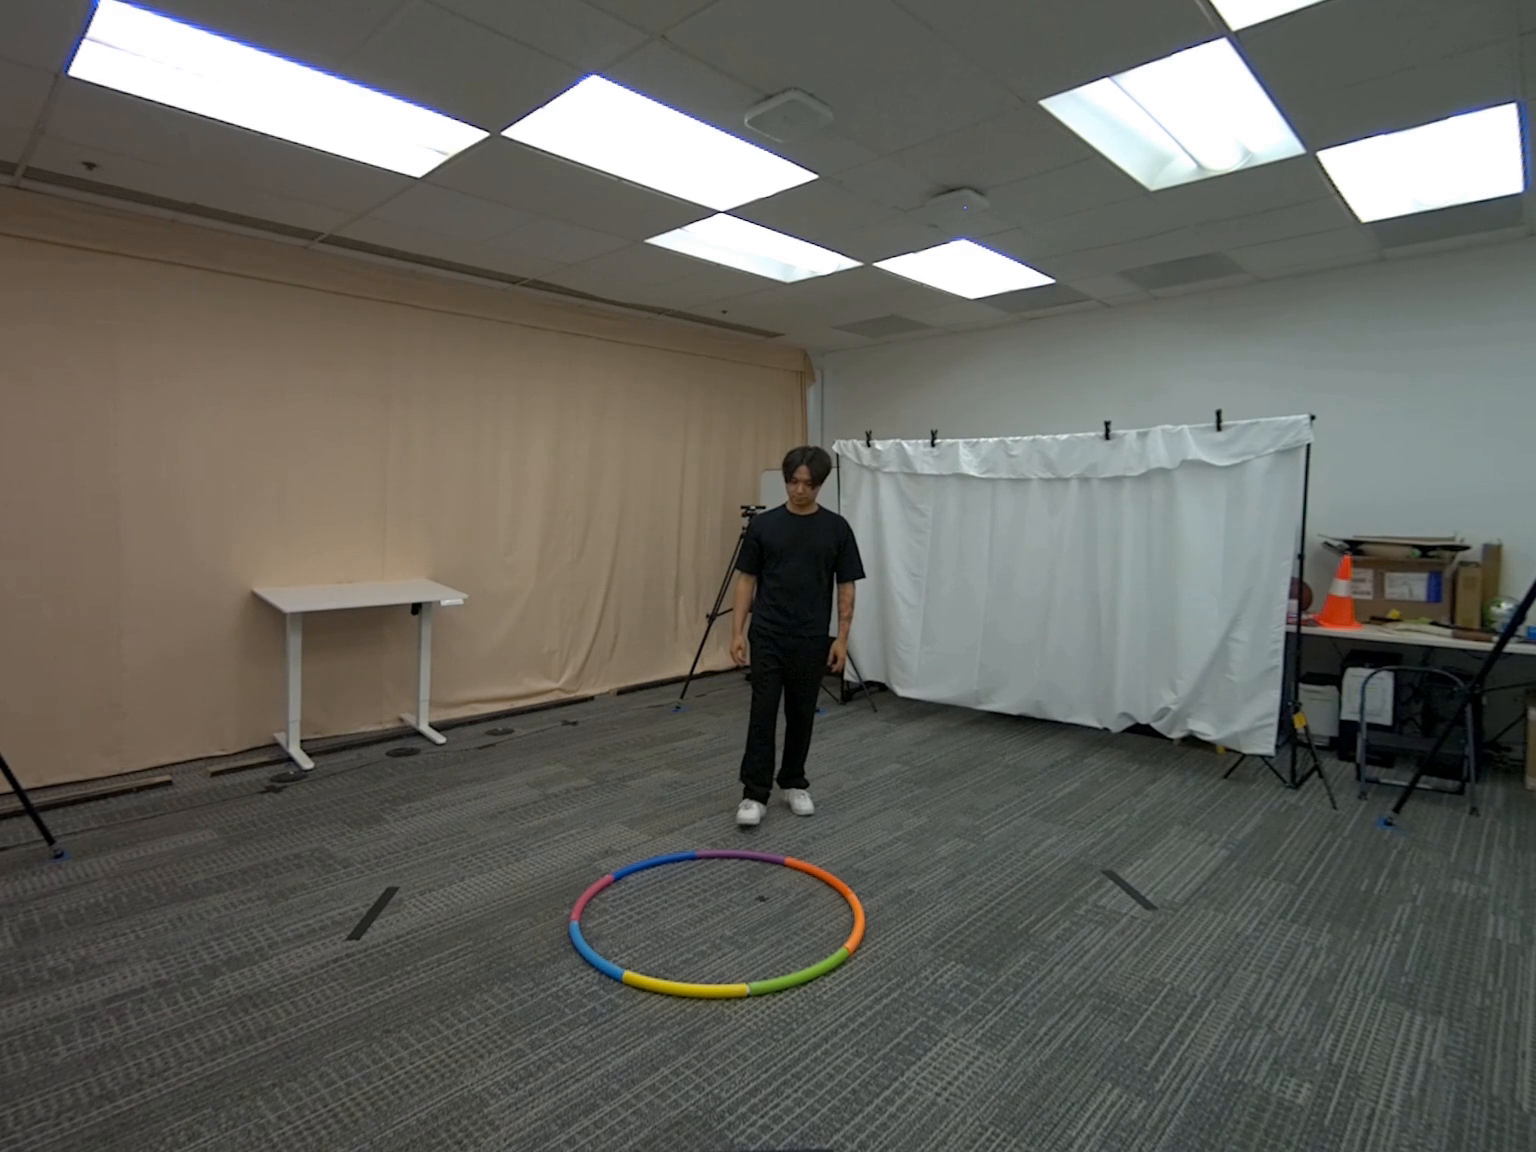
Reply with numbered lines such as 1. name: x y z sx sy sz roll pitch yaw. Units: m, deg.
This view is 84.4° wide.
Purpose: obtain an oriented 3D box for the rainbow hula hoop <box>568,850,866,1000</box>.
1. rainbow hula hoop: -0.172 1.127 2.857 0.978 0.035 0.982 -1 4 -2
